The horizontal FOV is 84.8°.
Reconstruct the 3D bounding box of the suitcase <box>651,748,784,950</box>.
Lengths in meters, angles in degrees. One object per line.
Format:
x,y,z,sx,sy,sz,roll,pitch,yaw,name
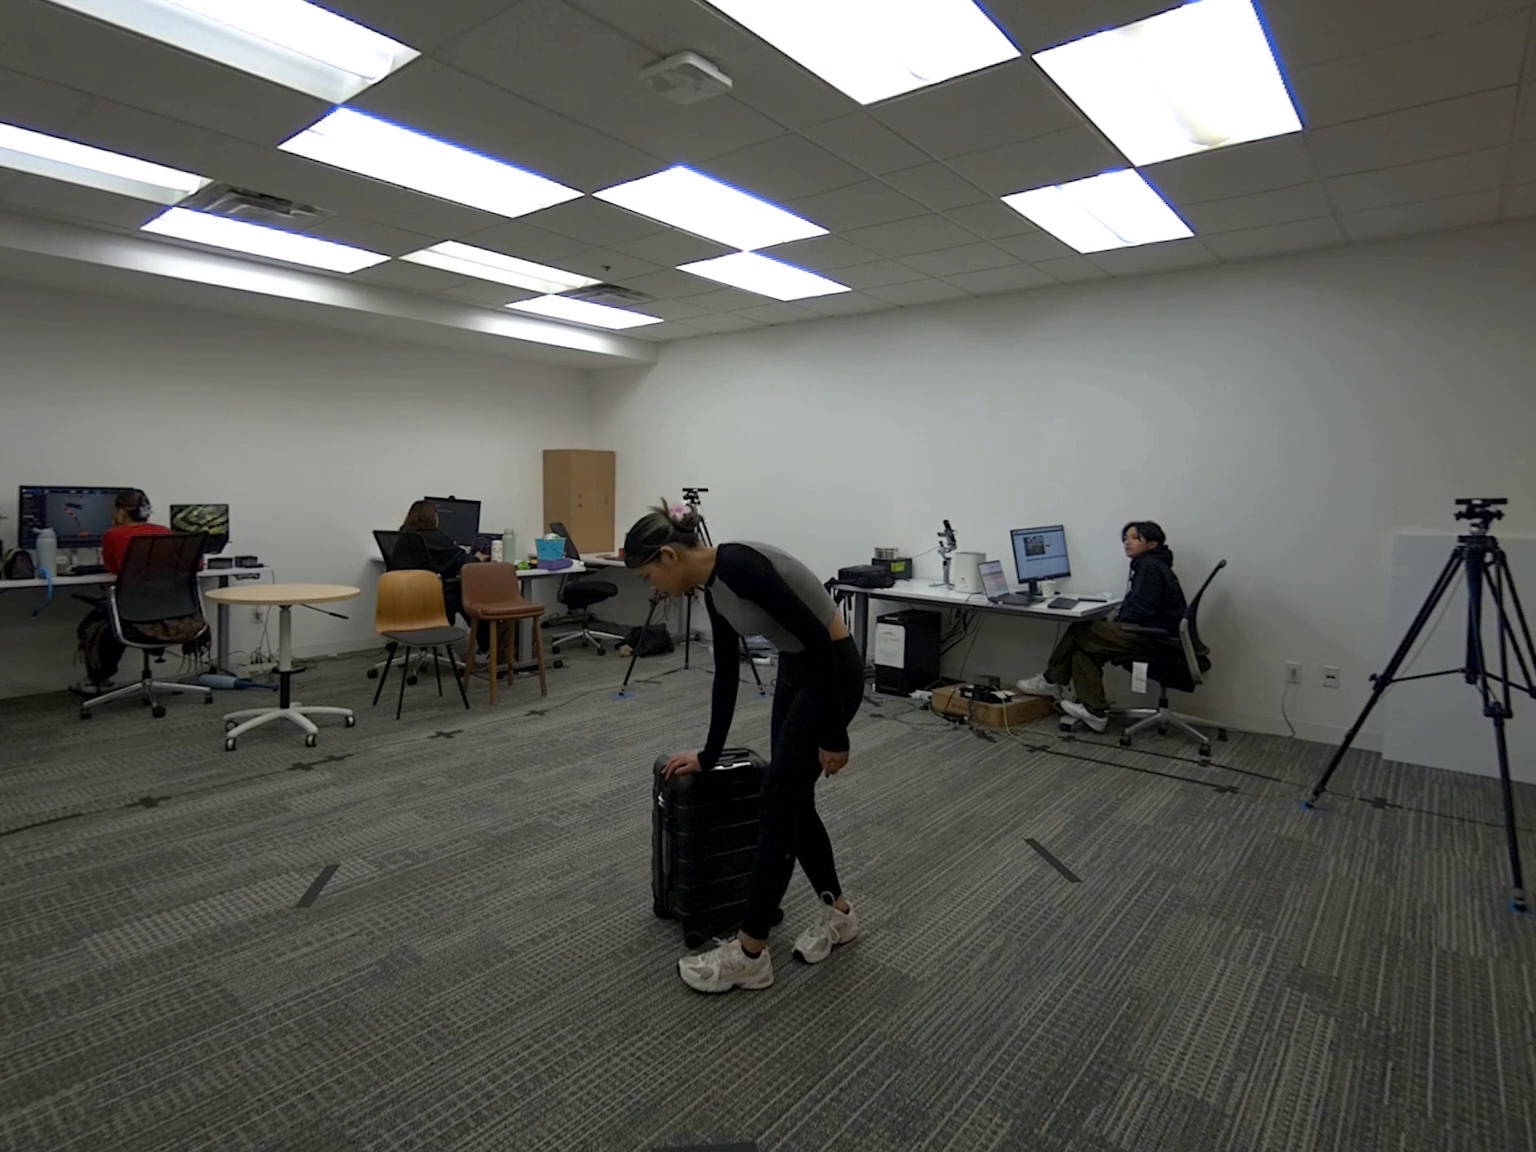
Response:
-0.190,0.829,2.739,0.366,0.548,0.255,-2,3,-30,suitcase
